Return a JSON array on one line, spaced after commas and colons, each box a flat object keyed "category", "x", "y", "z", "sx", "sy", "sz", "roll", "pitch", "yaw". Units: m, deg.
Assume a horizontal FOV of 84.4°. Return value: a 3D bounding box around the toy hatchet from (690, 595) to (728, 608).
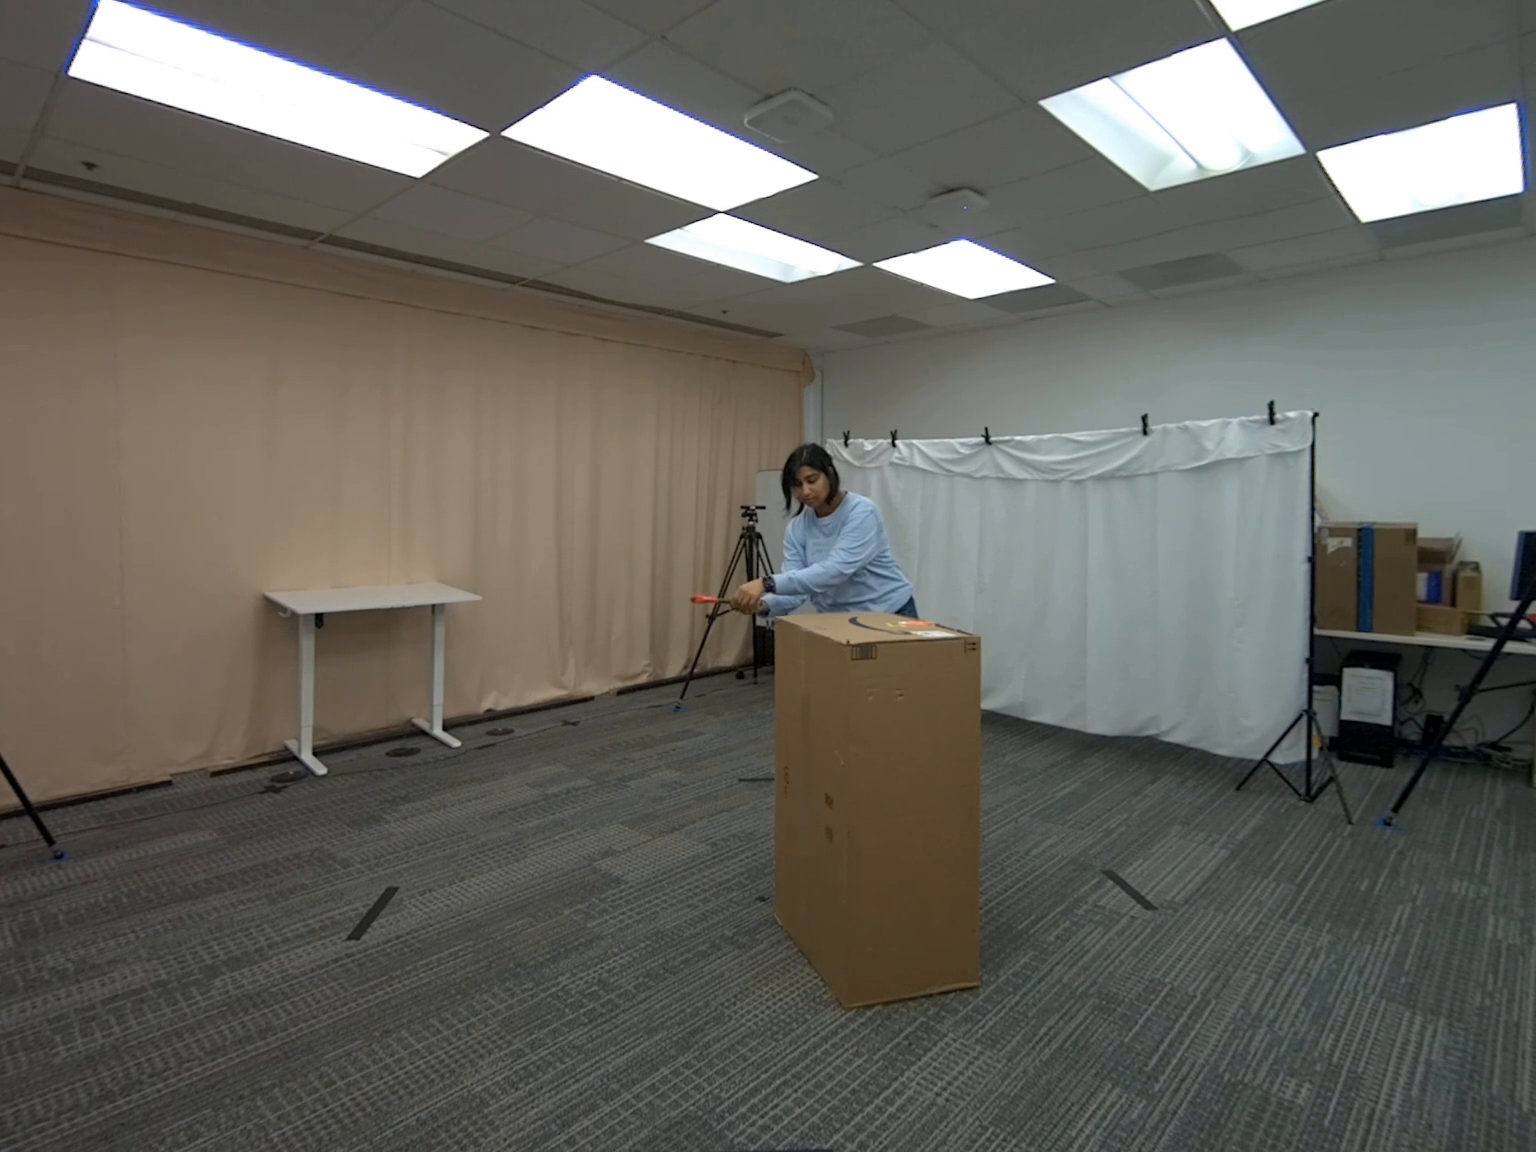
[{"category": "toy hatchet", "x": -0.134, "y": 0.086, "z": 3.118, "sx": 0.266, "sy": 0.030, "sz": 0.132, "roll": 2, "pitch": -5, "yaw": -12}]
